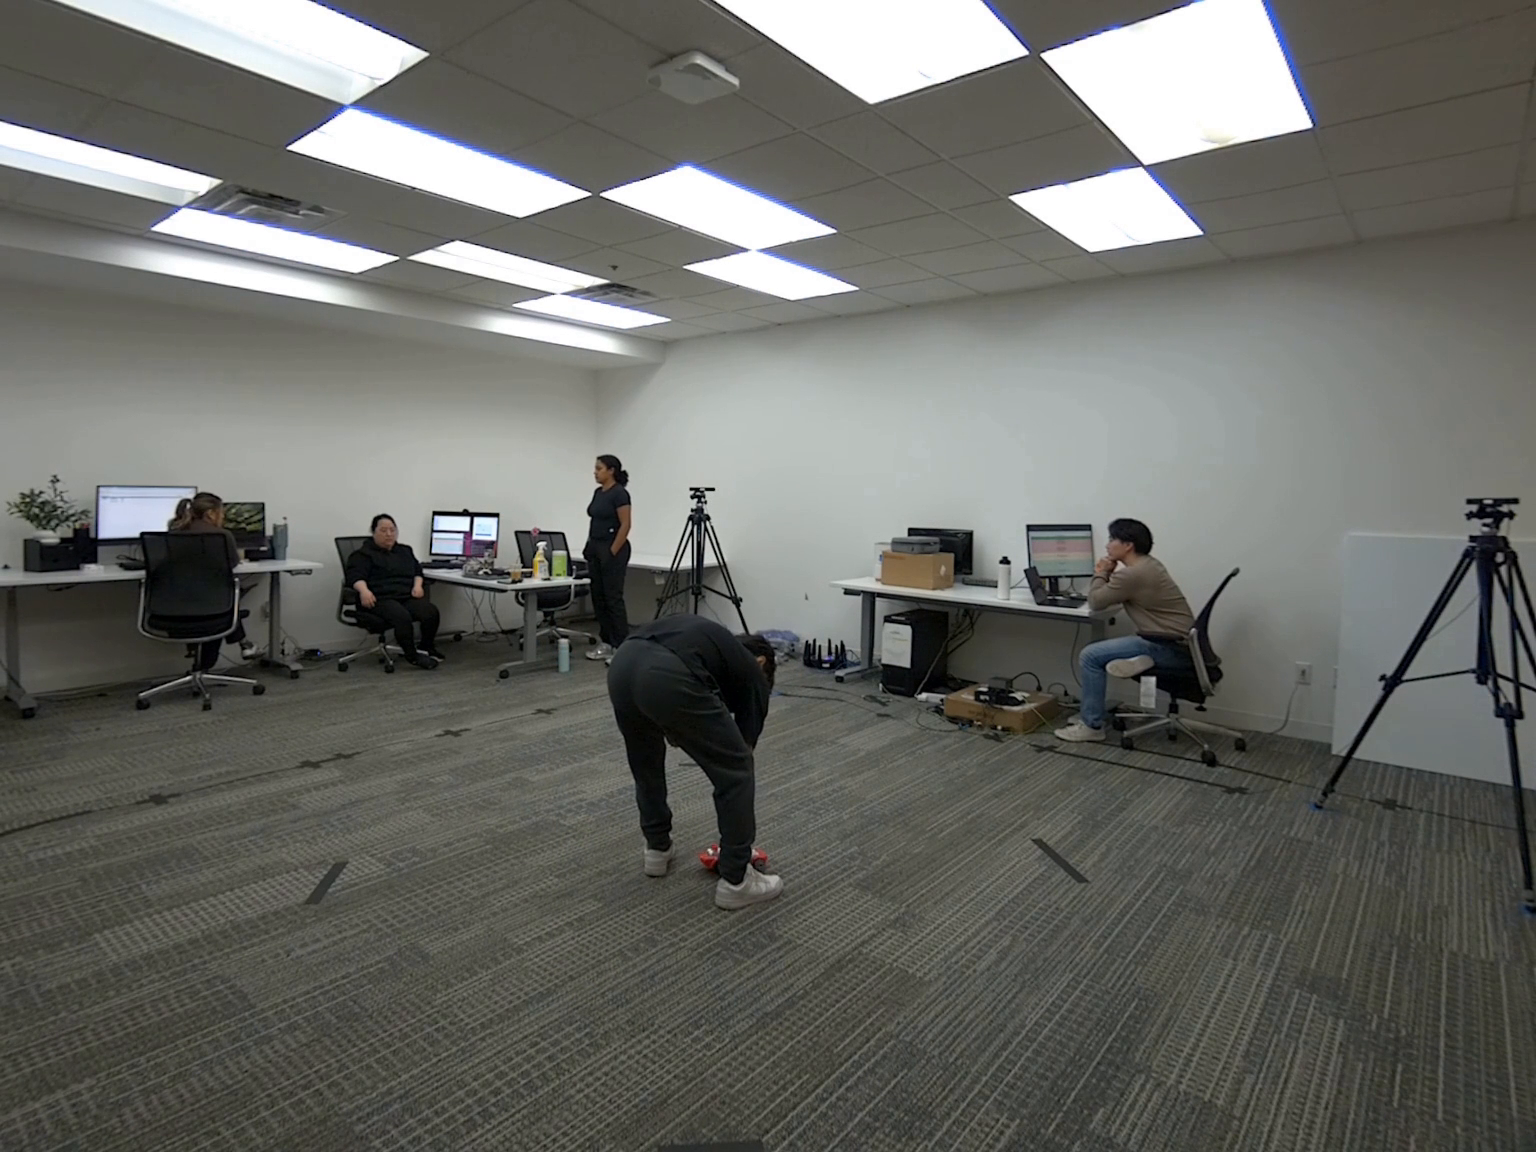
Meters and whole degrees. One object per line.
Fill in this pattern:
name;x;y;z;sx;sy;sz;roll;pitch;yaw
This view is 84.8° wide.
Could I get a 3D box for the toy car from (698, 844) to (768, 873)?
toy car;-0.145;1.039;3.108;0.252;0.083;0.131;11;-5;-10
